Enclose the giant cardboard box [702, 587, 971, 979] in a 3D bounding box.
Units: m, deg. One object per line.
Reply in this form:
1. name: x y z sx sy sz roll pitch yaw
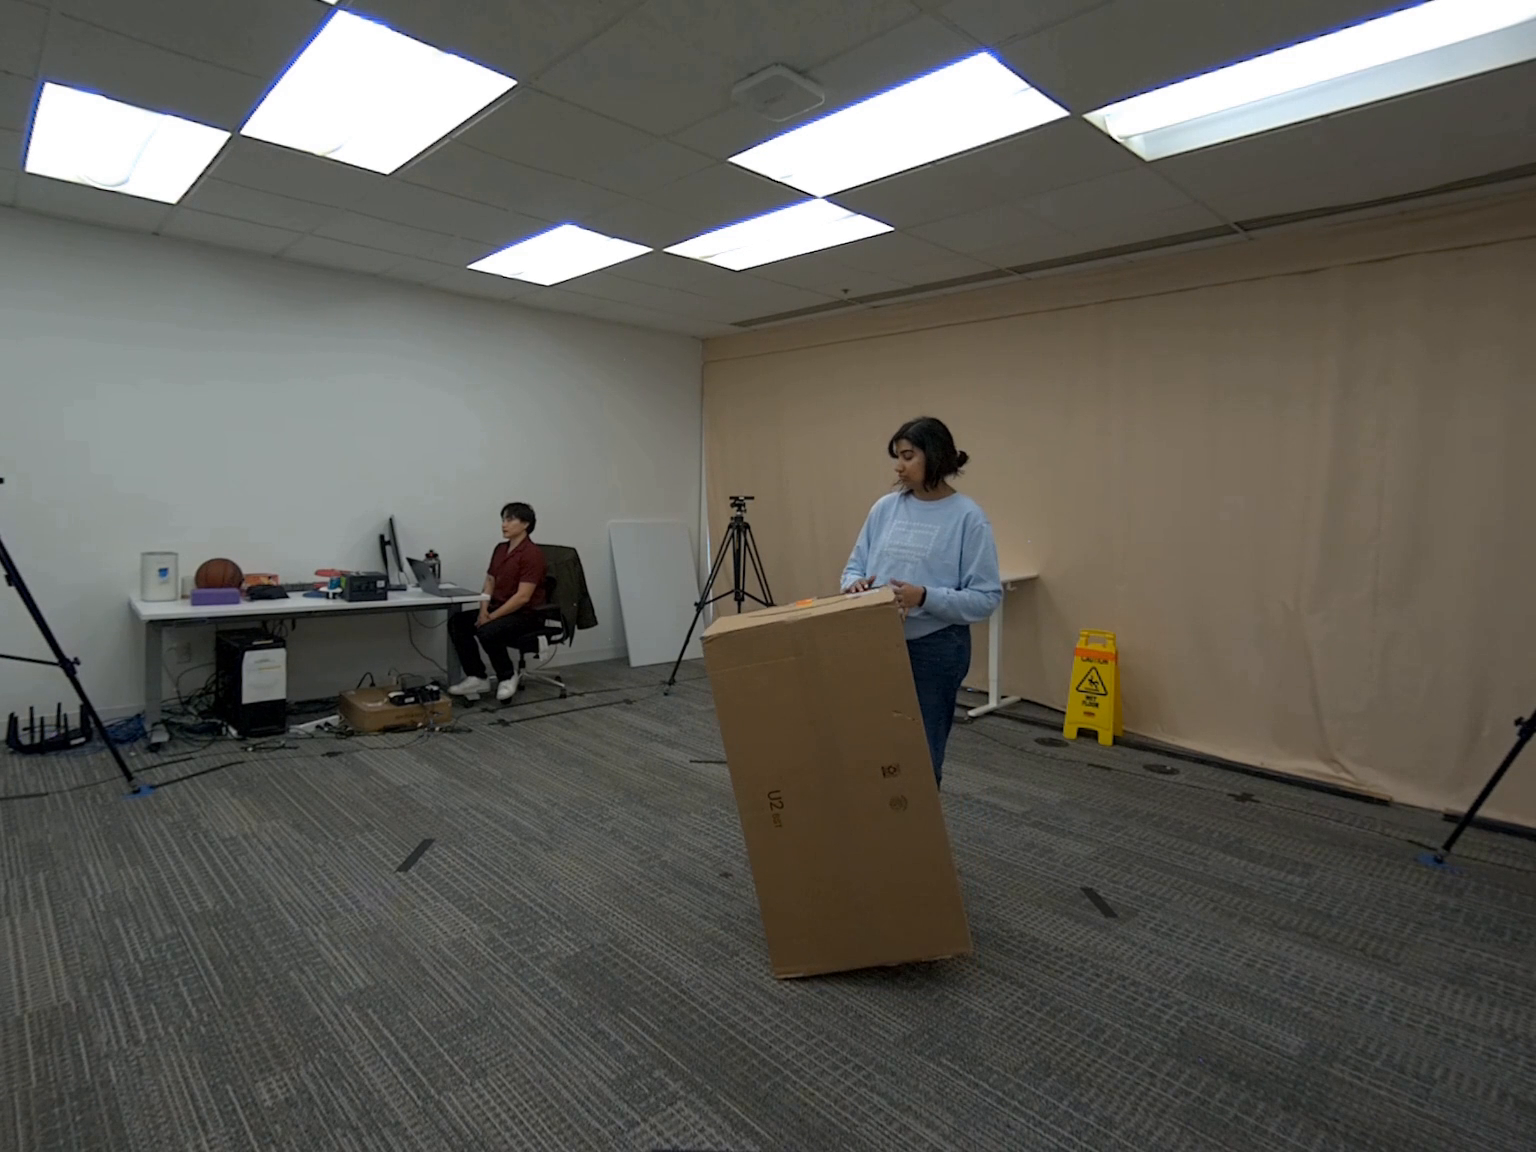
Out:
1. giant cardboard box: 0.202 0.600 2.590 0.587 1.026 0.445 -12 1 9
